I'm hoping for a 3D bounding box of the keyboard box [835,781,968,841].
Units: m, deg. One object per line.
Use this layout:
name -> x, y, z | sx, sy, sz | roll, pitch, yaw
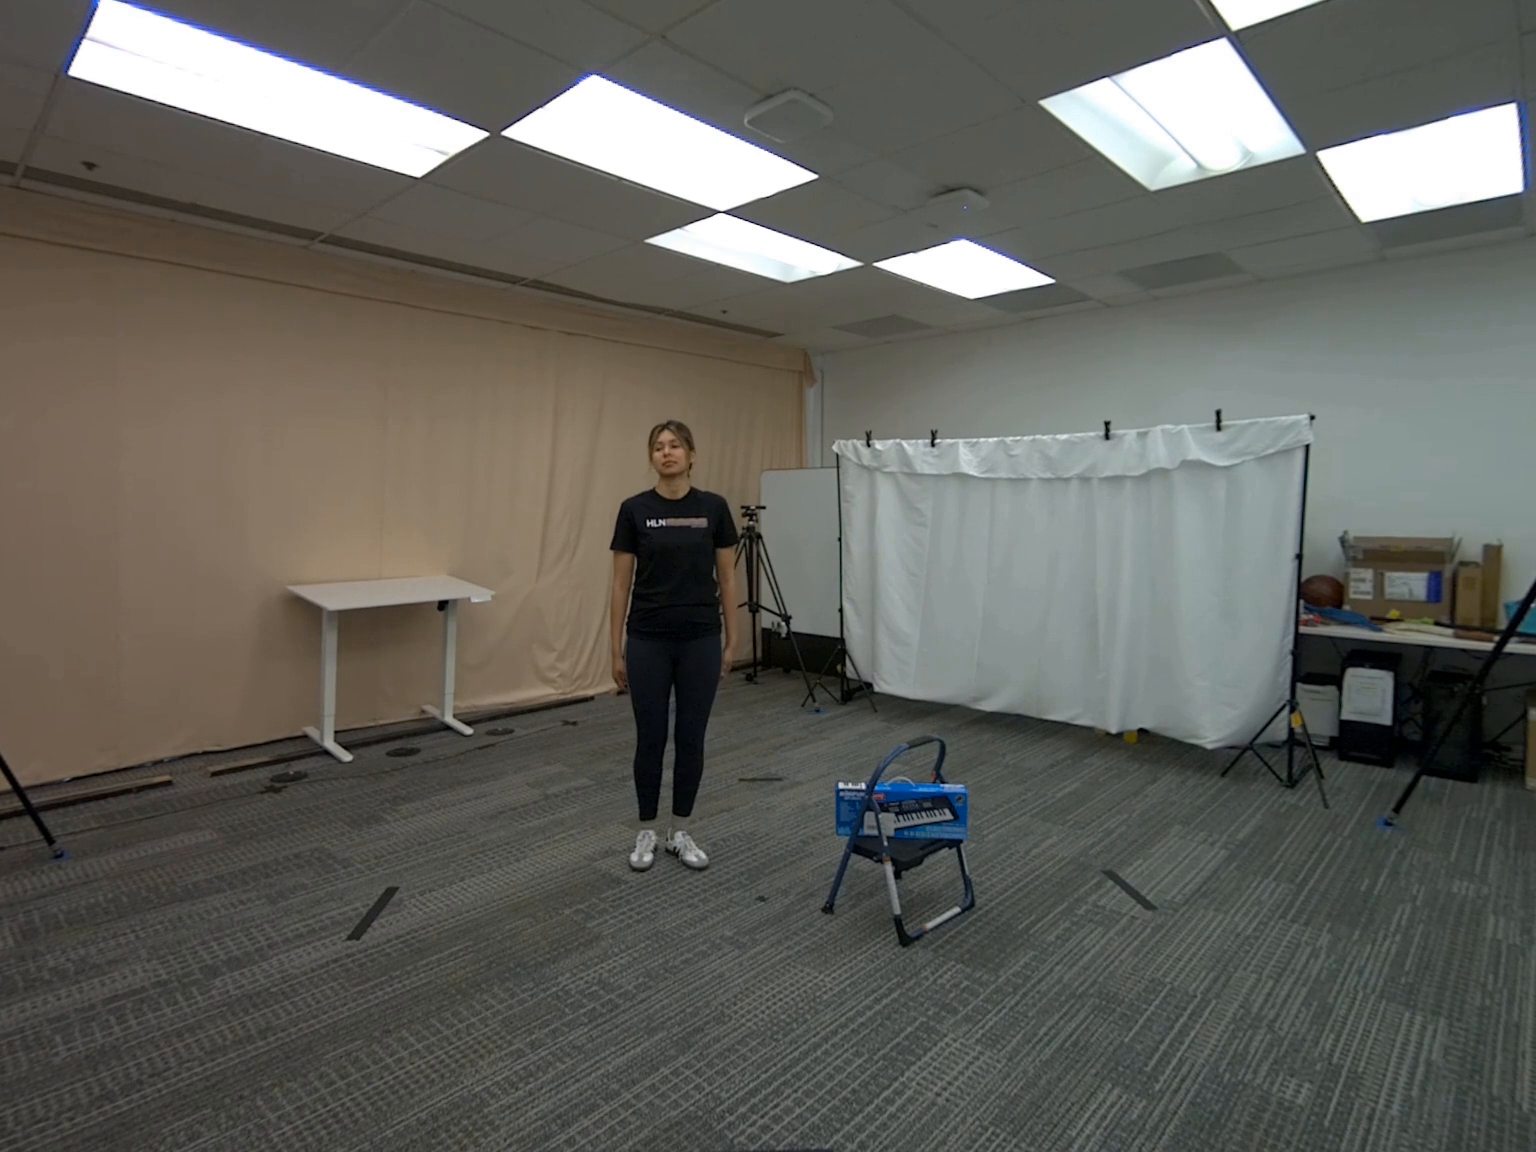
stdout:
keyboard box -> 0.465, 0.805, 2.874 | 0.440, 0.175, 0.059 | 0, 9, 7
